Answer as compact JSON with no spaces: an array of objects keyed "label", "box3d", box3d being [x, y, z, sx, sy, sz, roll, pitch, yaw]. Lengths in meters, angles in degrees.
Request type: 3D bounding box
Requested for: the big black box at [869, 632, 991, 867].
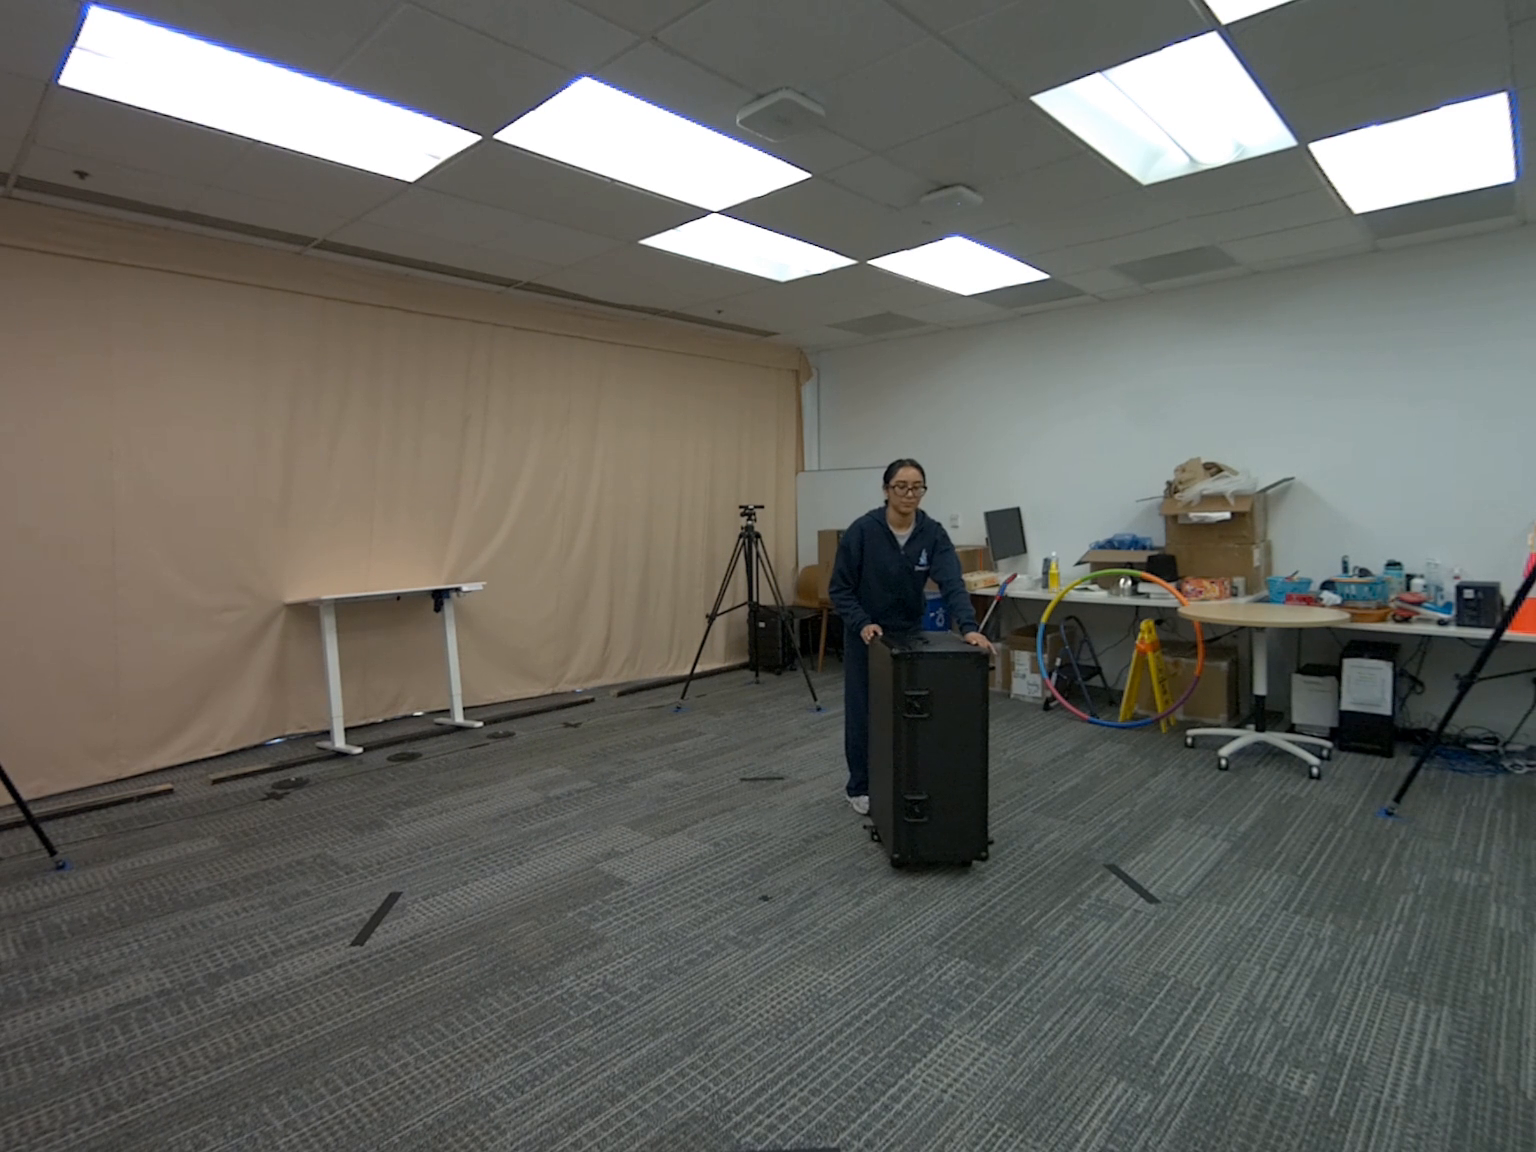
[{"label":"big black box","box3d":[0.628,0.679,3.315,0.396,0.860,0.523,0,3,-2]}]
